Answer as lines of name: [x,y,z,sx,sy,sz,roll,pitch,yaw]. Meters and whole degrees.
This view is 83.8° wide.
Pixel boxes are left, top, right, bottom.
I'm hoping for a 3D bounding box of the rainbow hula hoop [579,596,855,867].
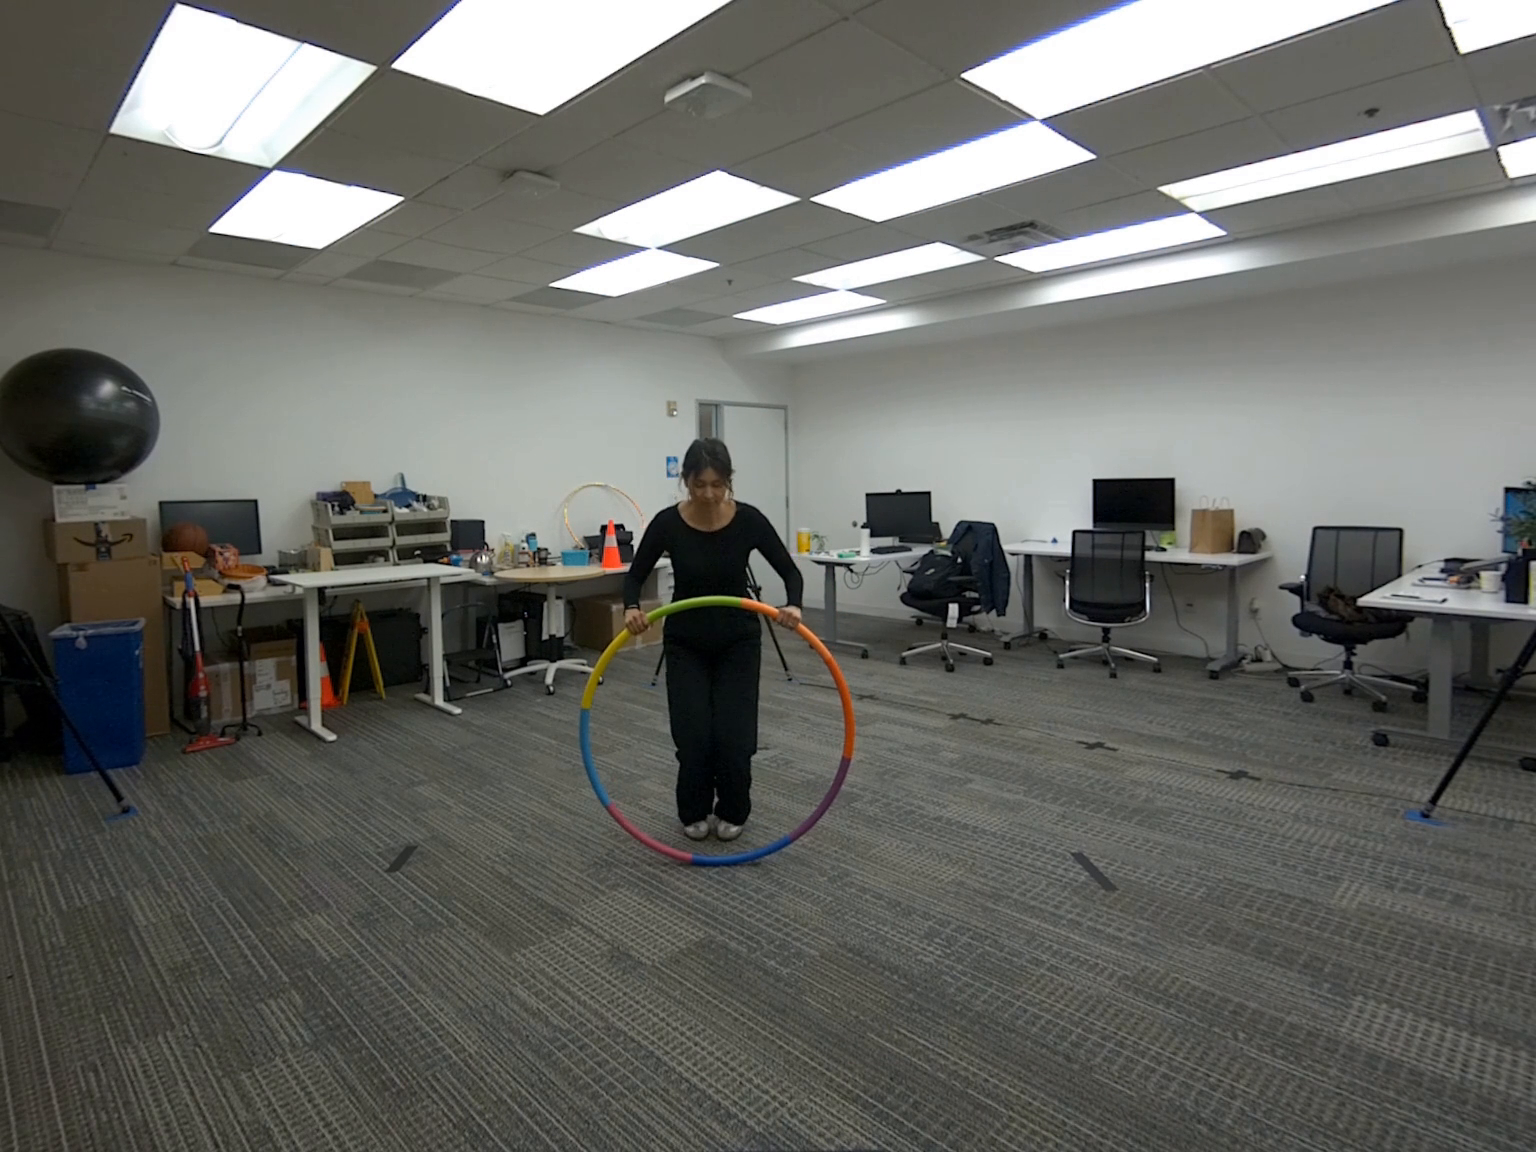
rainbow hula hoop: [-0.181,0.558,3.065,0.981,0.973,0.035,-1,6,3]
